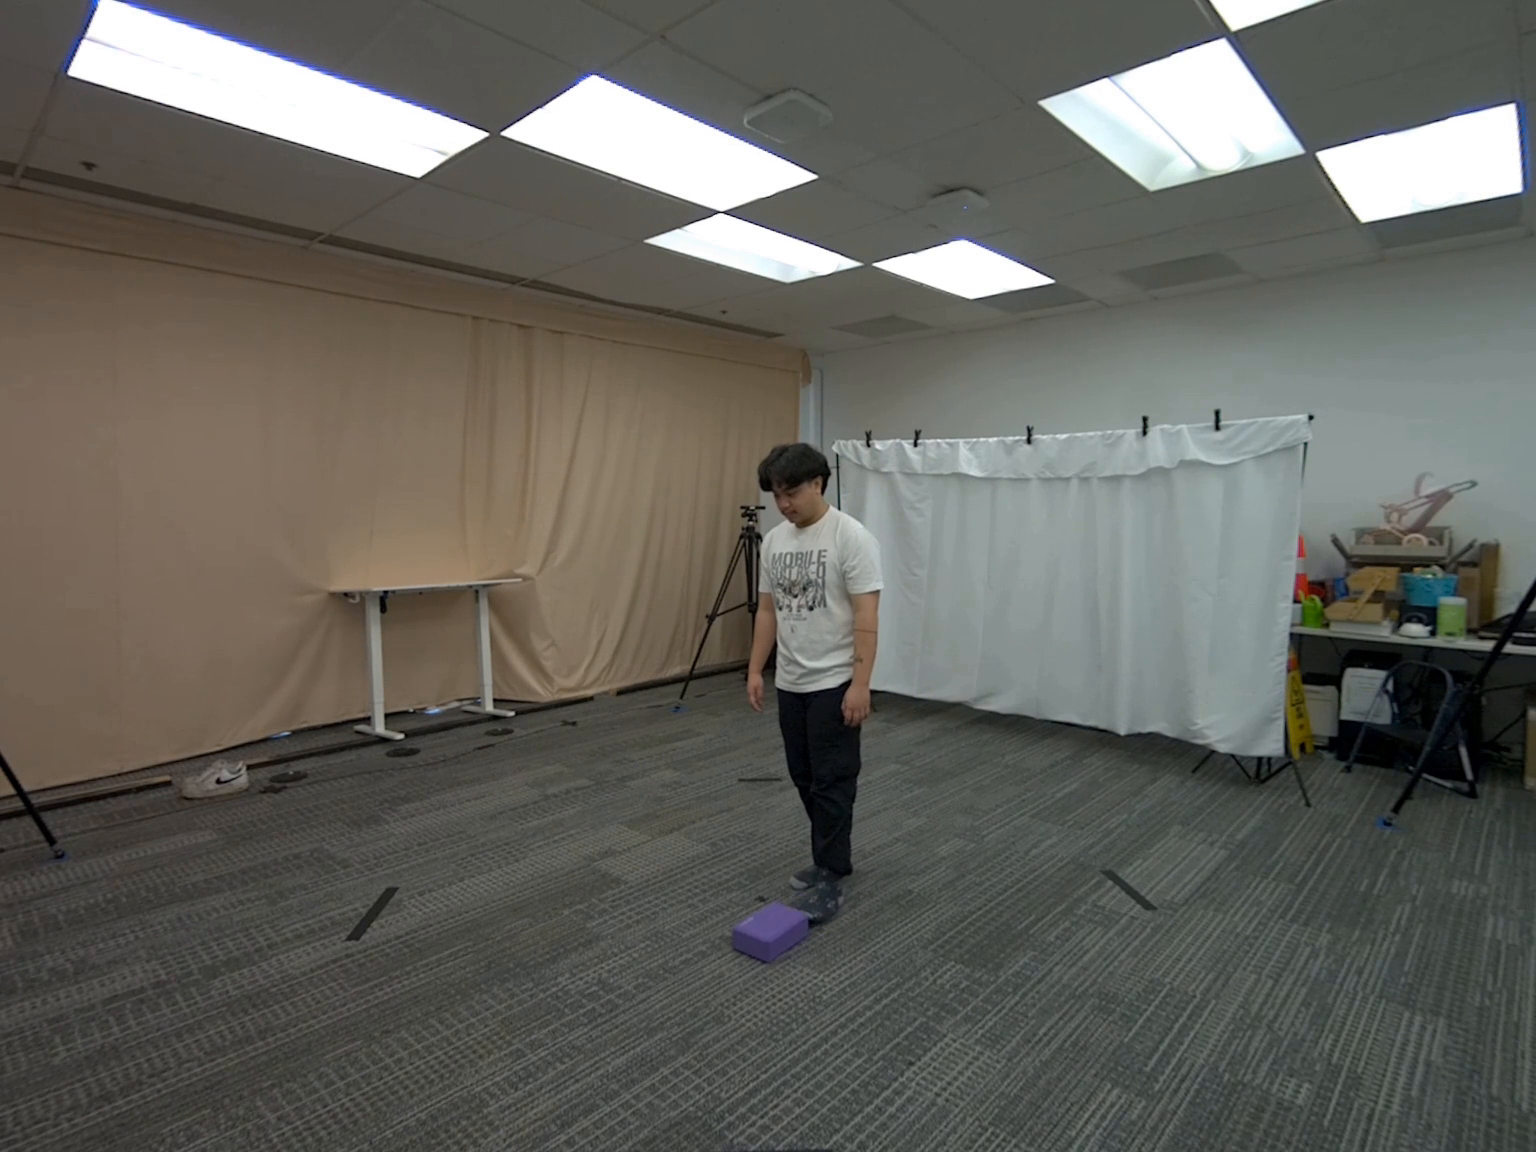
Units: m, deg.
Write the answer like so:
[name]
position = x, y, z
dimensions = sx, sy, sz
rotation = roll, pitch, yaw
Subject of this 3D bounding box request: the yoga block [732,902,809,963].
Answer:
[yoga block]
position = 0.012, 1.128, 2.682
dimensions = 0.154, 0.076, 0.223
rotation = 4, 7, 37
